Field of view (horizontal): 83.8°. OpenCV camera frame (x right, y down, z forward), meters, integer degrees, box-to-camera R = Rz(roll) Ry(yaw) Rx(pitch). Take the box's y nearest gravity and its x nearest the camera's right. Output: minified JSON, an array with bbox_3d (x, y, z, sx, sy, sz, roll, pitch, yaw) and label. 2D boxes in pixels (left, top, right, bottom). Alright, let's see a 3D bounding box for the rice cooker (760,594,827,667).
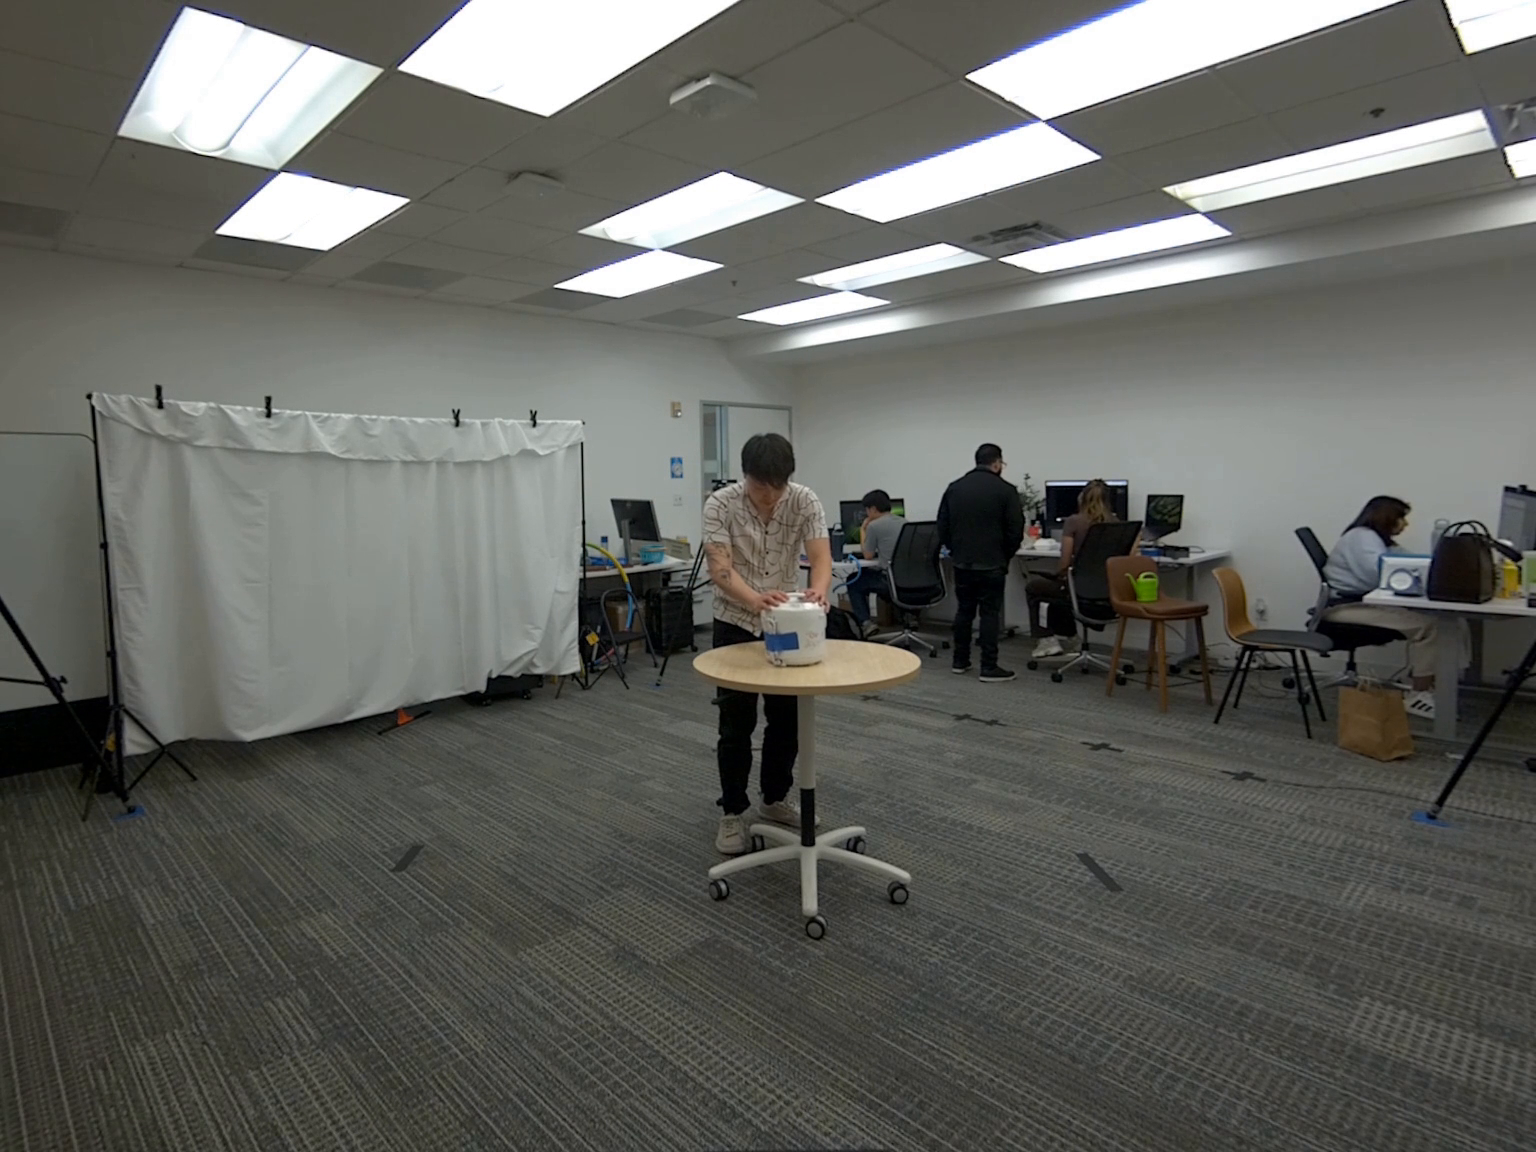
[{"bbox_3d":[0.085,0.177,2.875,0.220,0.232,0.219,0,6,-3],"label":"rice cooker"}]
